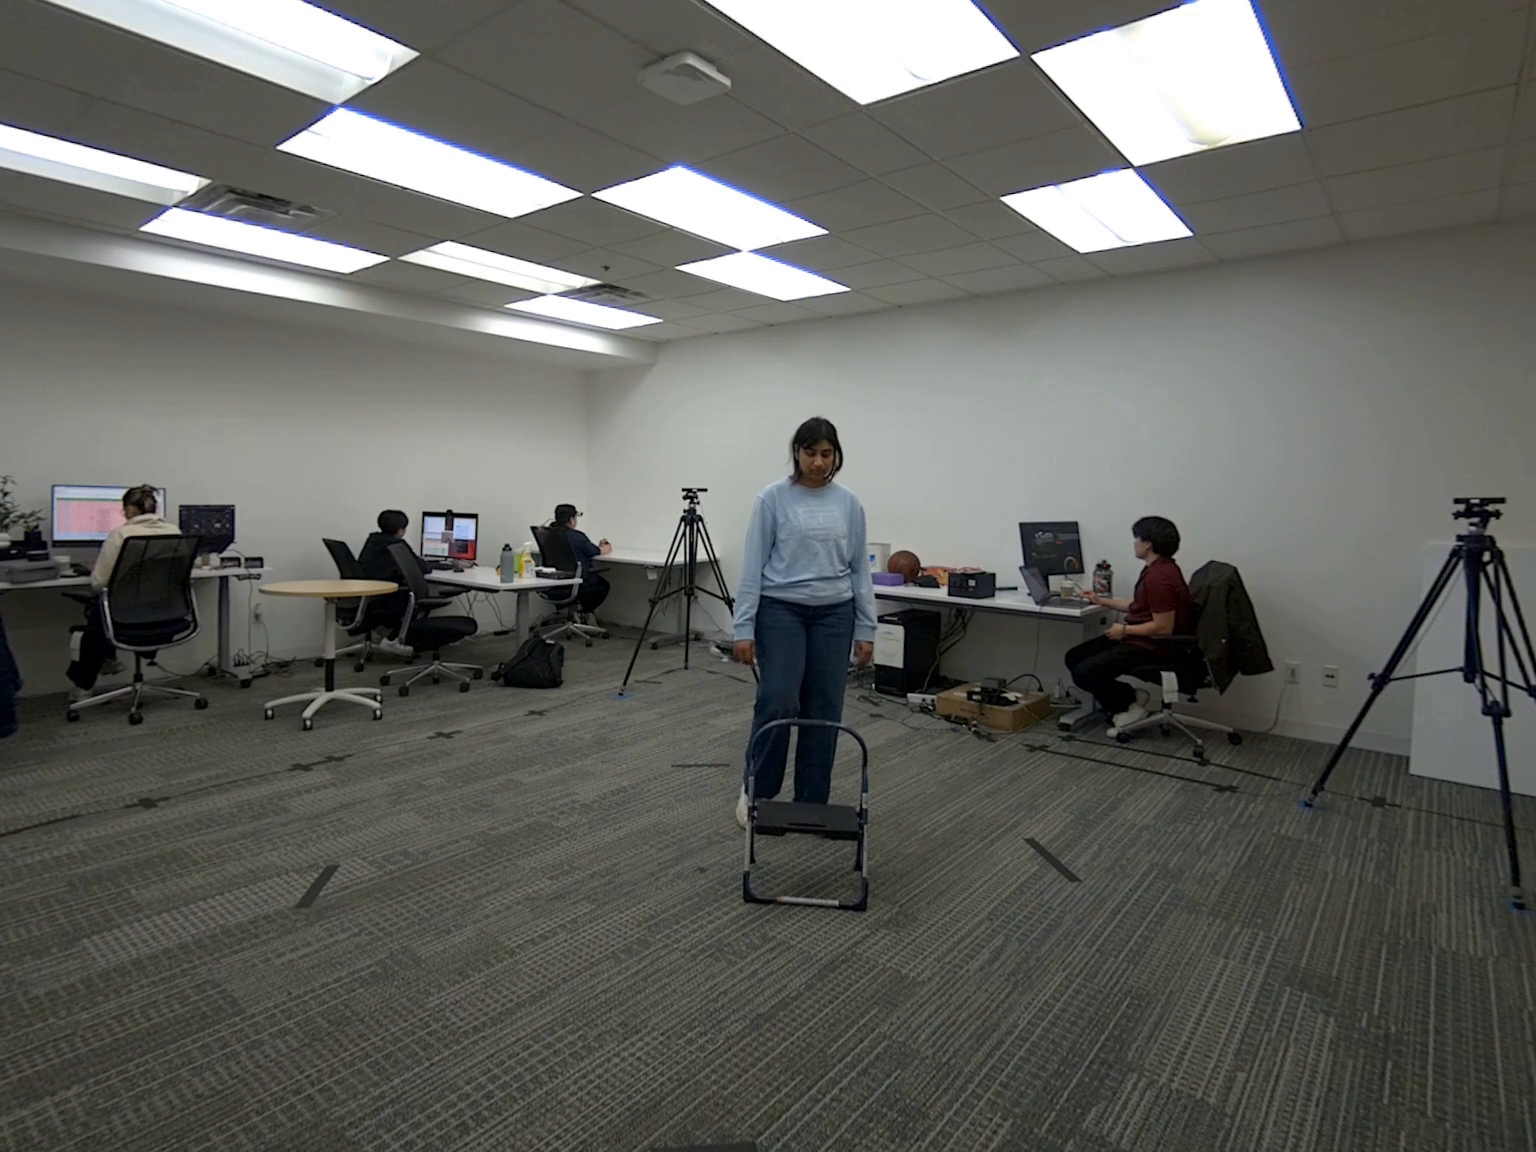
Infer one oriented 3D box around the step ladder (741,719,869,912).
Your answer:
[{"bbox_3d":[0.130,0.788,2.995,0.433,0.605,0.348,1,2,4],"label":"step ladder"}]
